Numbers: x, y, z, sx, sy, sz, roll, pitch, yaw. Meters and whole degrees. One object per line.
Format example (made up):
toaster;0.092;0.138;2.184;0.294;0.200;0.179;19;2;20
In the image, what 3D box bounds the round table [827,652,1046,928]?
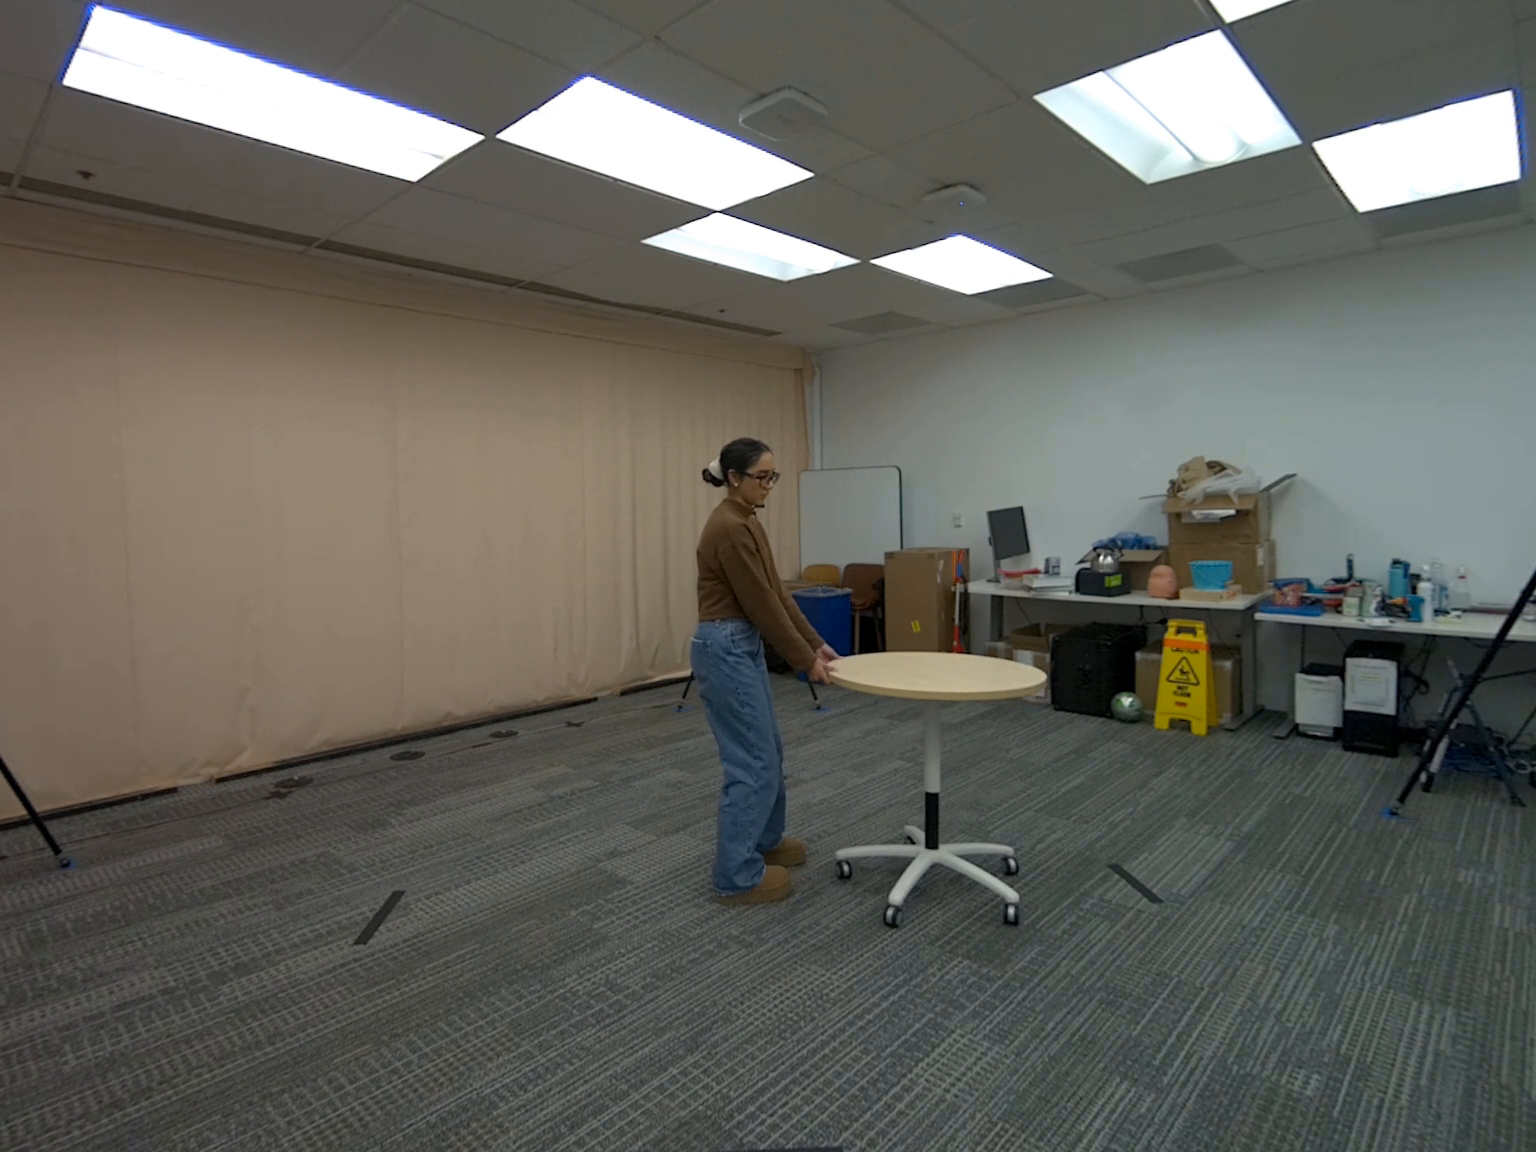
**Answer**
round table;0.574;0.731;3.016;0.784;0.785;0.787;-1;3;-2
